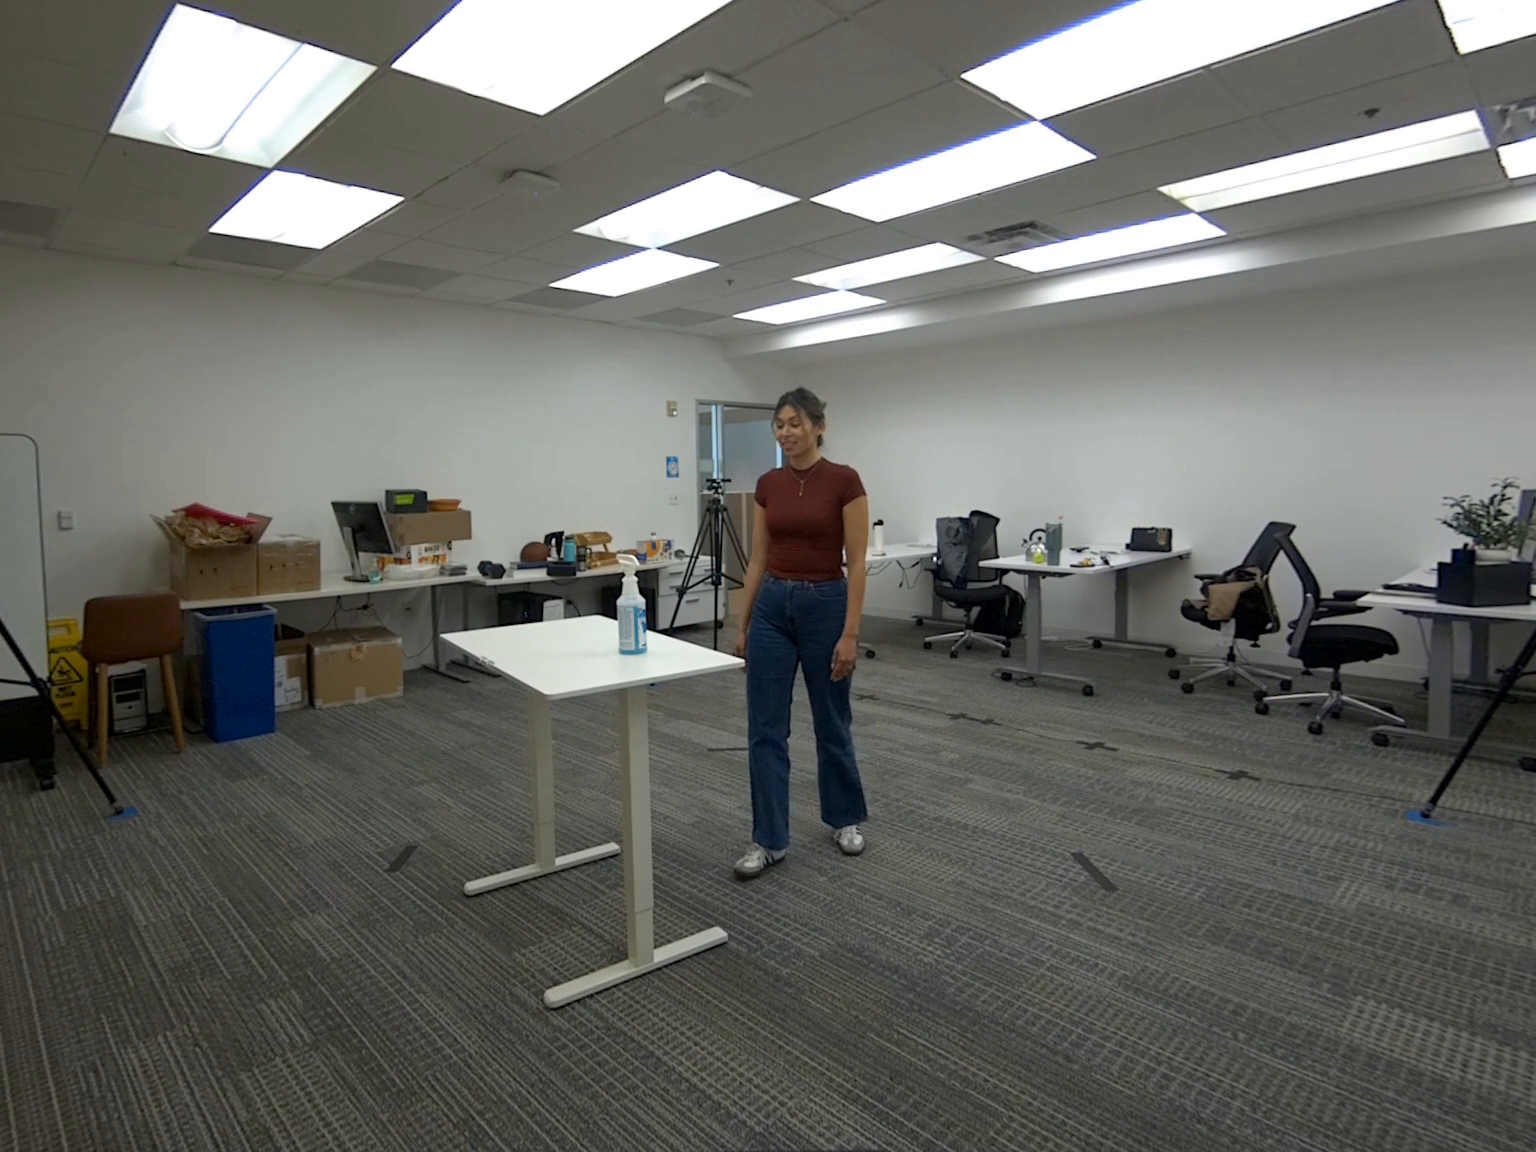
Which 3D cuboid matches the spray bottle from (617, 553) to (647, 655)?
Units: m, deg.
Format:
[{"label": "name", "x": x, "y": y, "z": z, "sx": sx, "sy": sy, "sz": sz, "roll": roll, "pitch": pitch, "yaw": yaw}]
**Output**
[{"label": "spray bottle", "x": -0.415, "y": 0.087, "z": 2.585, "sx": 0.085, "sy": 0.296, "sz": 0.092, "roll": -3, "pitch": 4, "yaw": -24}]
